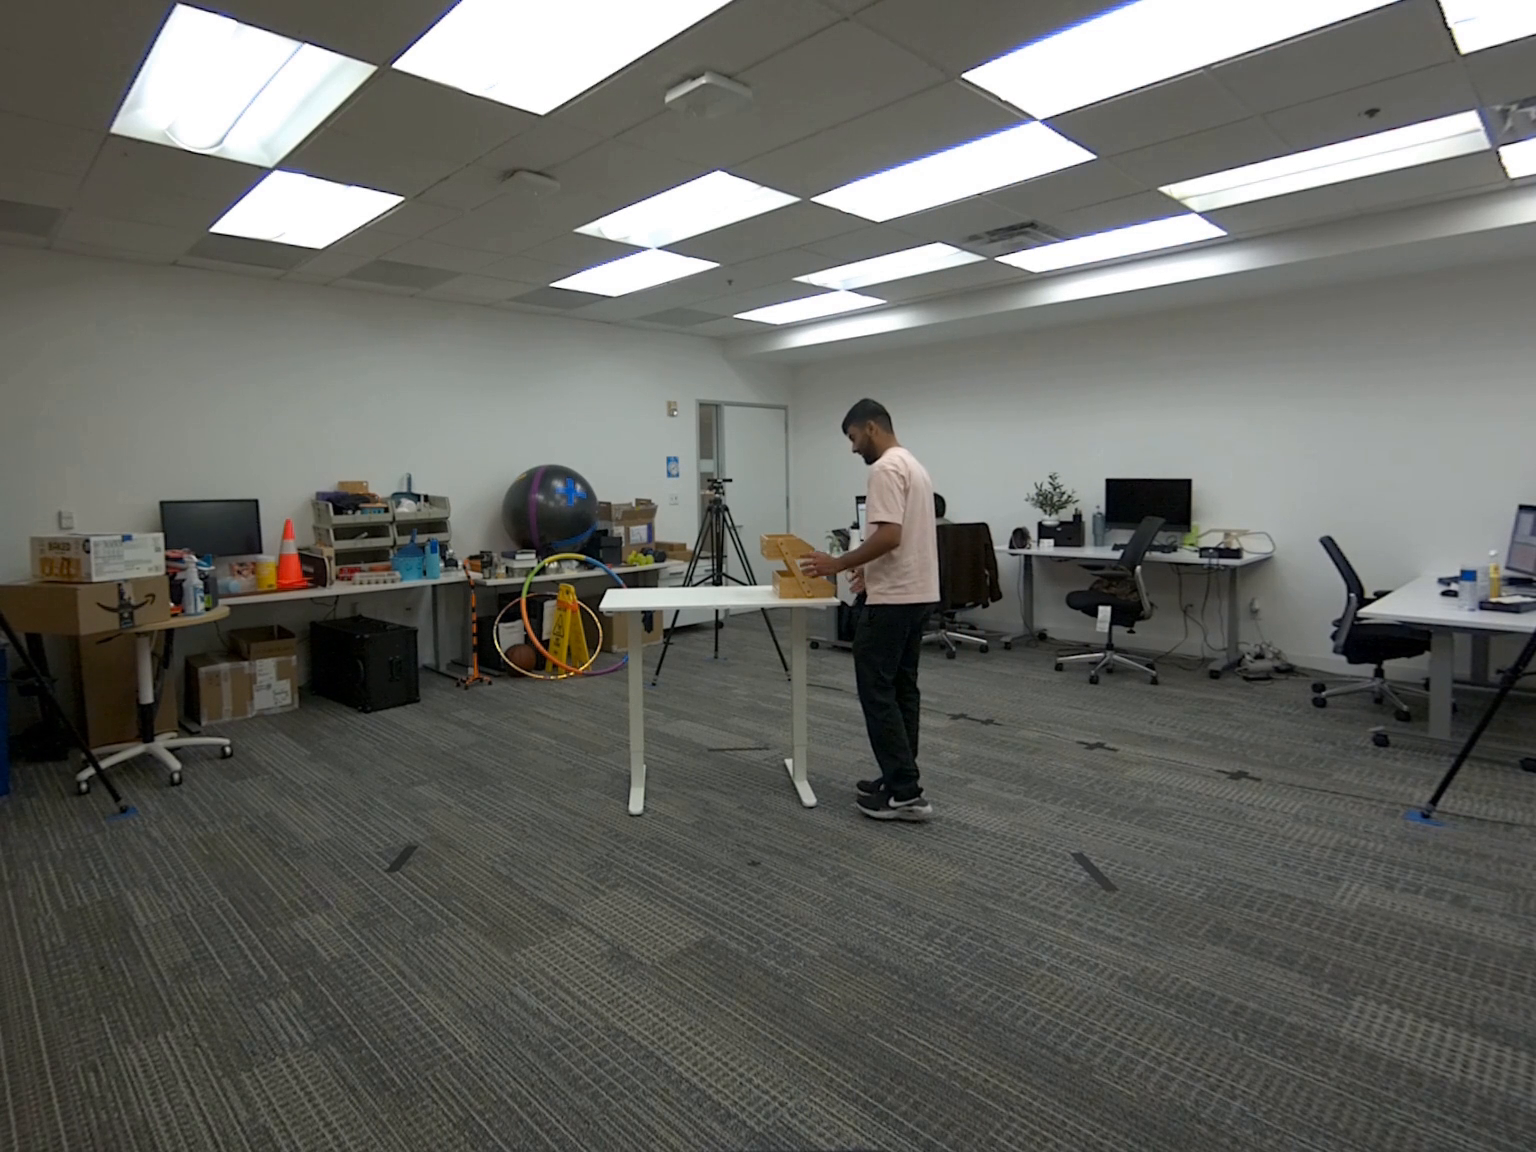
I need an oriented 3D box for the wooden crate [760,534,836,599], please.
[{"bbox_3d":[0.142,-0.050,3.844,0.300,0.272,0.327,-1,5,-6],"label":"wooden crate"}]
